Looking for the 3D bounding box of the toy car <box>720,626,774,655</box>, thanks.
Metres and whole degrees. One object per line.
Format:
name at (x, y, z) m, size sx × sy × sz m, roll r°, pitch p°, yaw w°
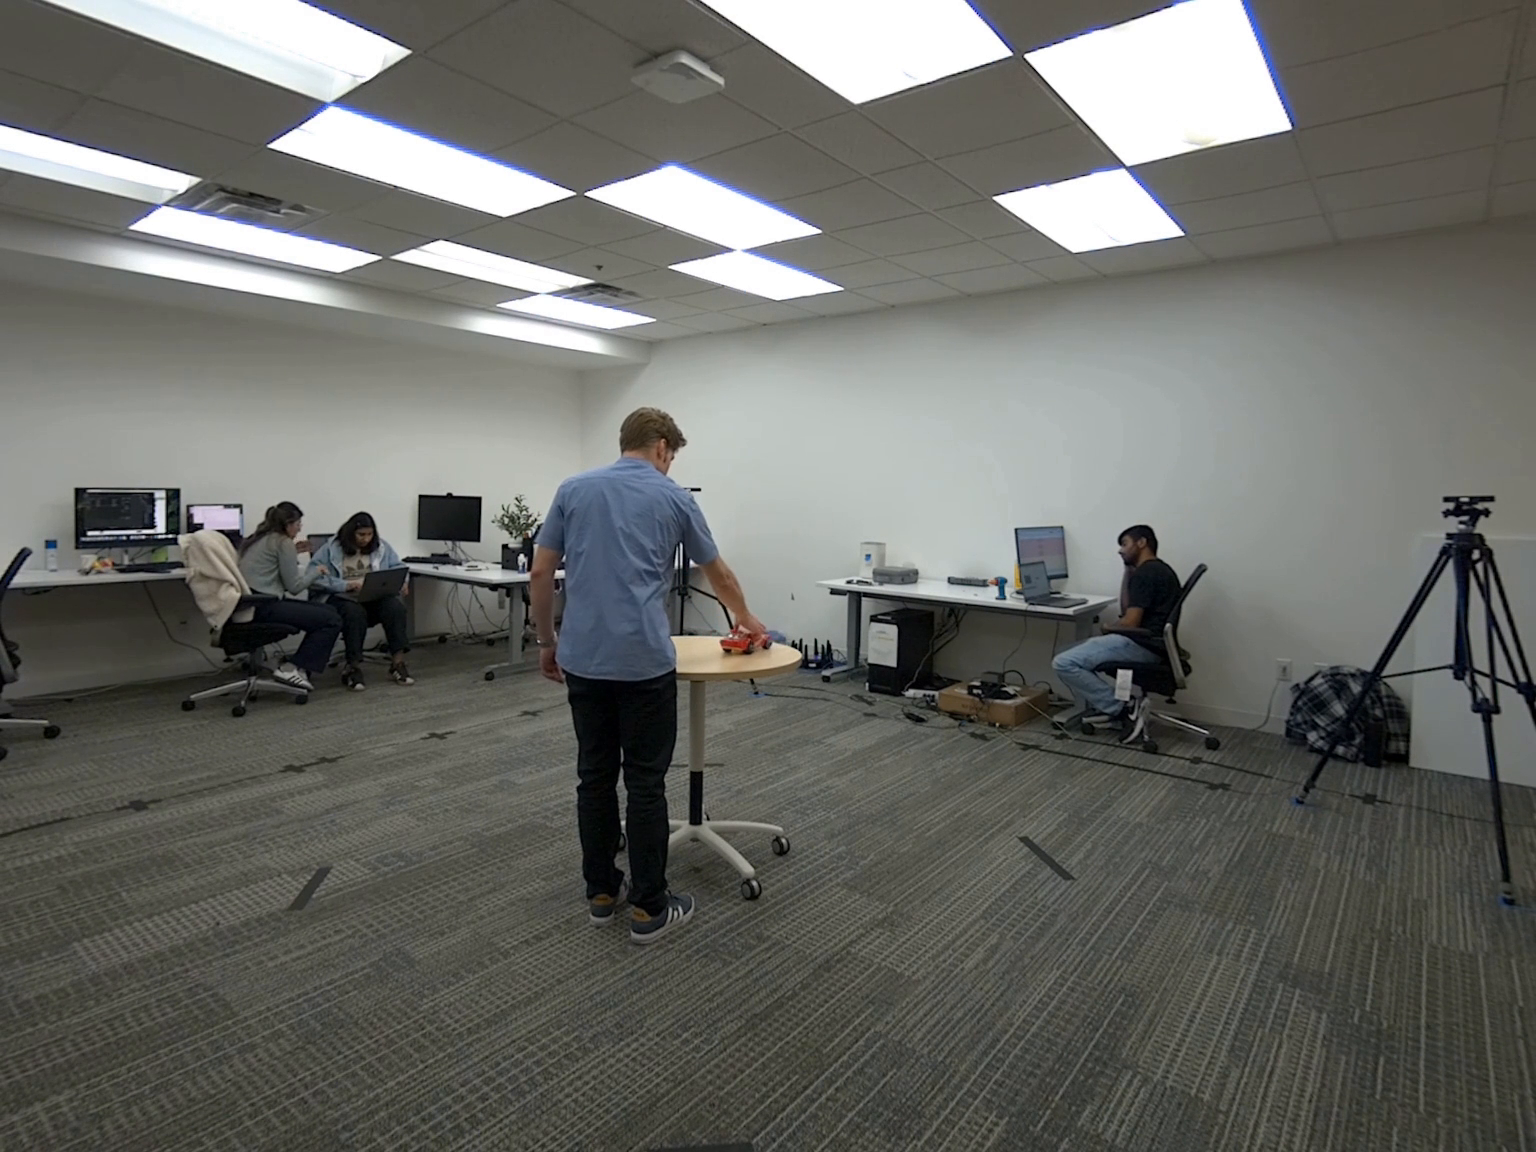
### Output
toy car at (-0.093, 0.249, 3.191) m, size 0.134 × 0.083 × 0.246 m, roll 4°, pitch -6°, yaw 29°
